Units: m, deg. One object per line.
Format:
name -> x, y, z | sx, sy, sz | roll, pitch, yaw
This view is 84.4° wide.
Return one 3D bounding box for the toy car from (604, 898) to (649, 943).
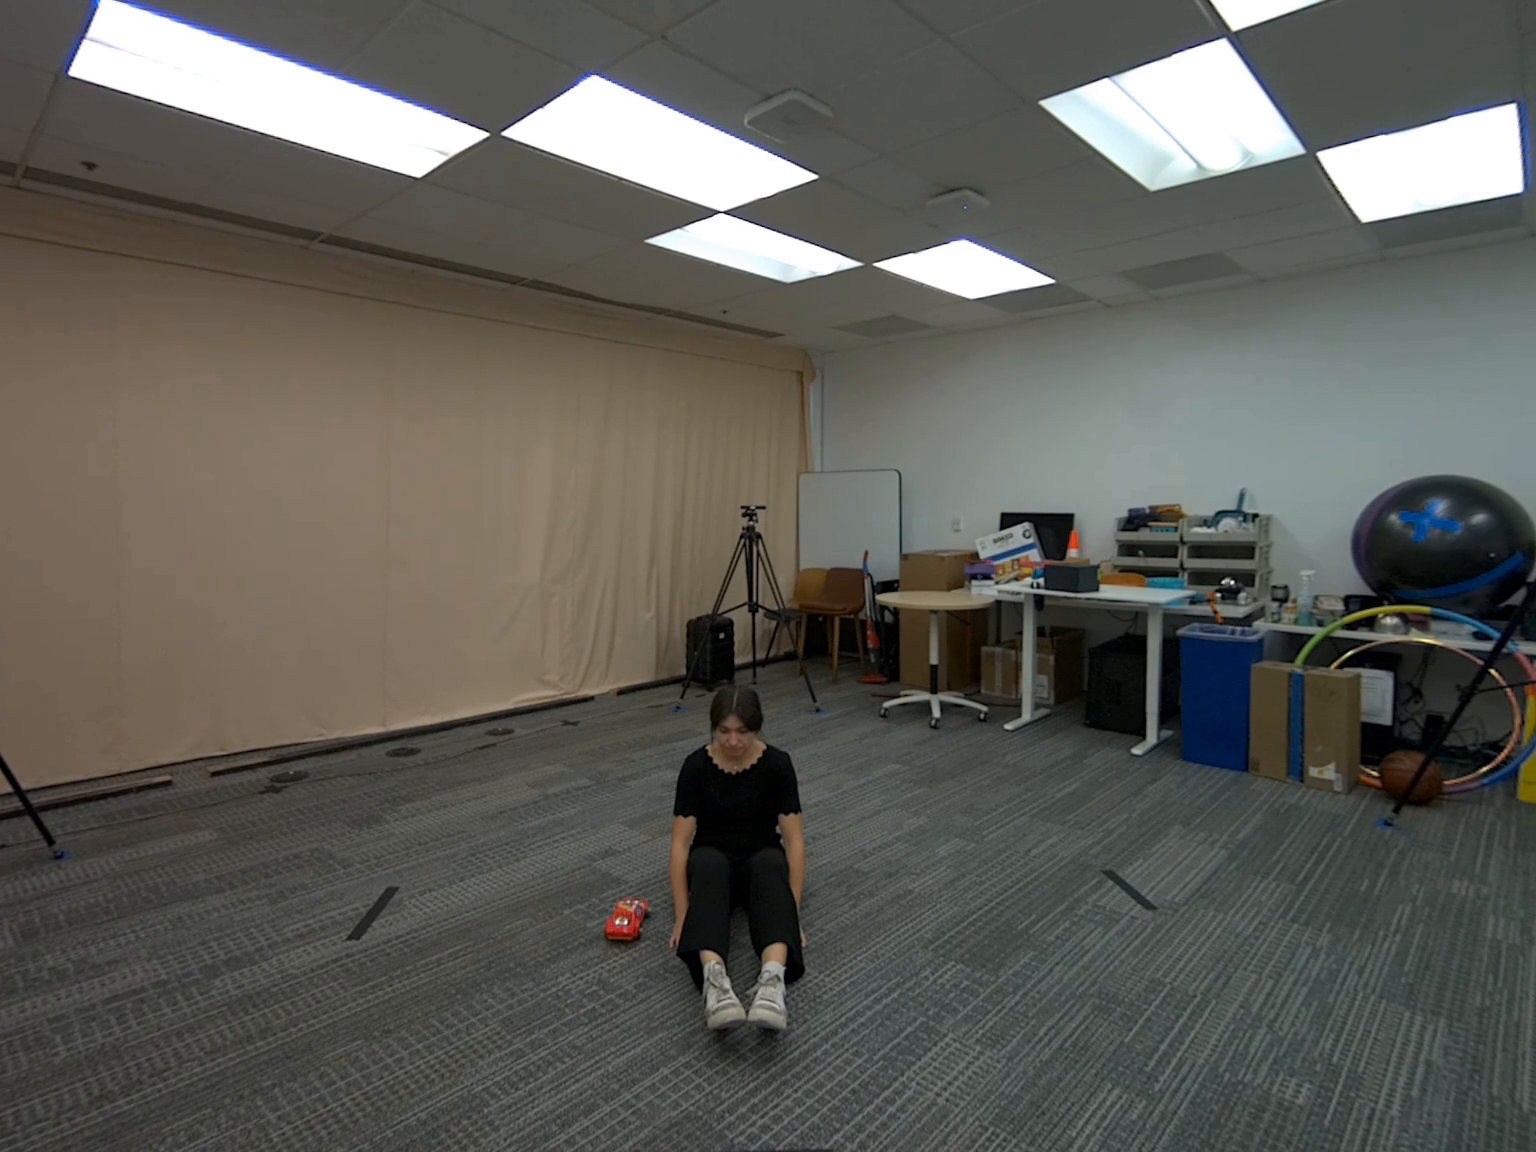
toy car -> -0.463, 1.138, 2.761 | 0.131, 0.083, 0.252 | 1, -7, 4
